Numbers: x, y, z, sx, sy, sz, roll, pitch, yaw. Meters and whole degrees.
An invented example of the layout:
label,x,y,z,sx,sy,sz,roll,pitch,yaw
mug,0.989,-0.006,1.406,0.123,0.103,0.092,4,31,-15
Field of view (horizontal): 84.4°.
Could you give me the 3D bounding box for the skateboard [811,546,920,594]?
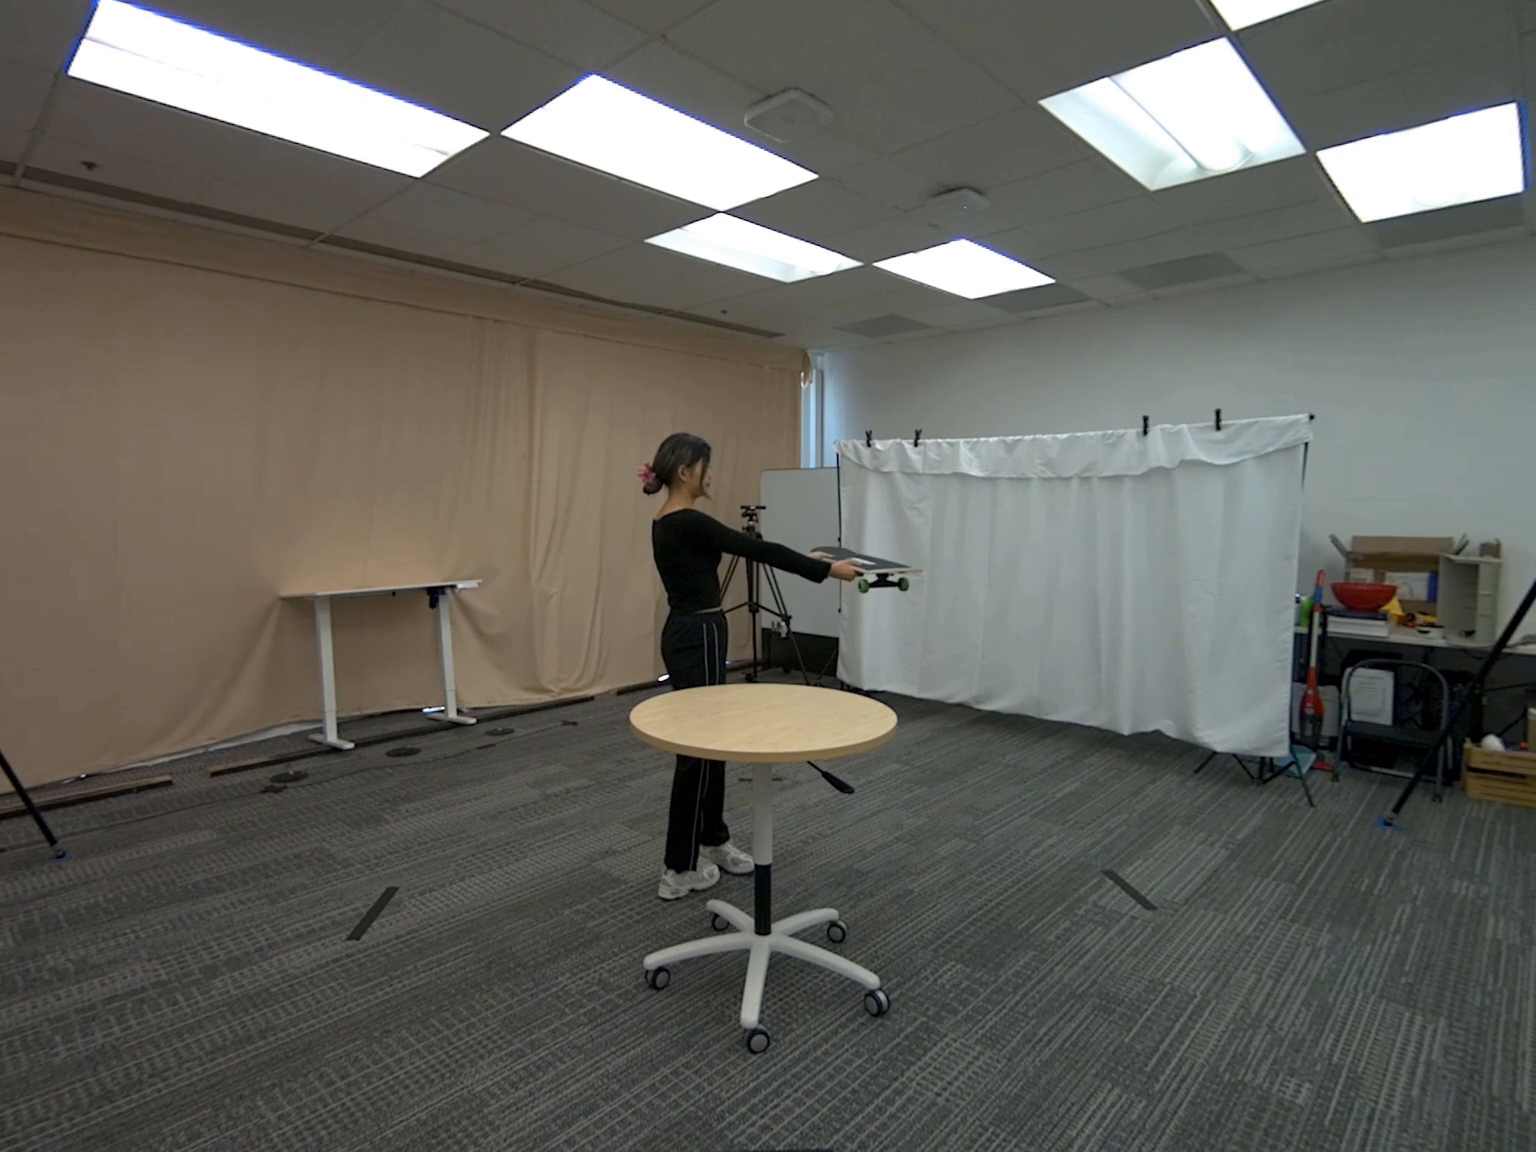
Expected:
label,x,y,z,sx,sy,sz,roll,pitch,yaw
skateboard,0.364,-0.016,3.186,0.190,0.110,0.802,-4,9,-17
